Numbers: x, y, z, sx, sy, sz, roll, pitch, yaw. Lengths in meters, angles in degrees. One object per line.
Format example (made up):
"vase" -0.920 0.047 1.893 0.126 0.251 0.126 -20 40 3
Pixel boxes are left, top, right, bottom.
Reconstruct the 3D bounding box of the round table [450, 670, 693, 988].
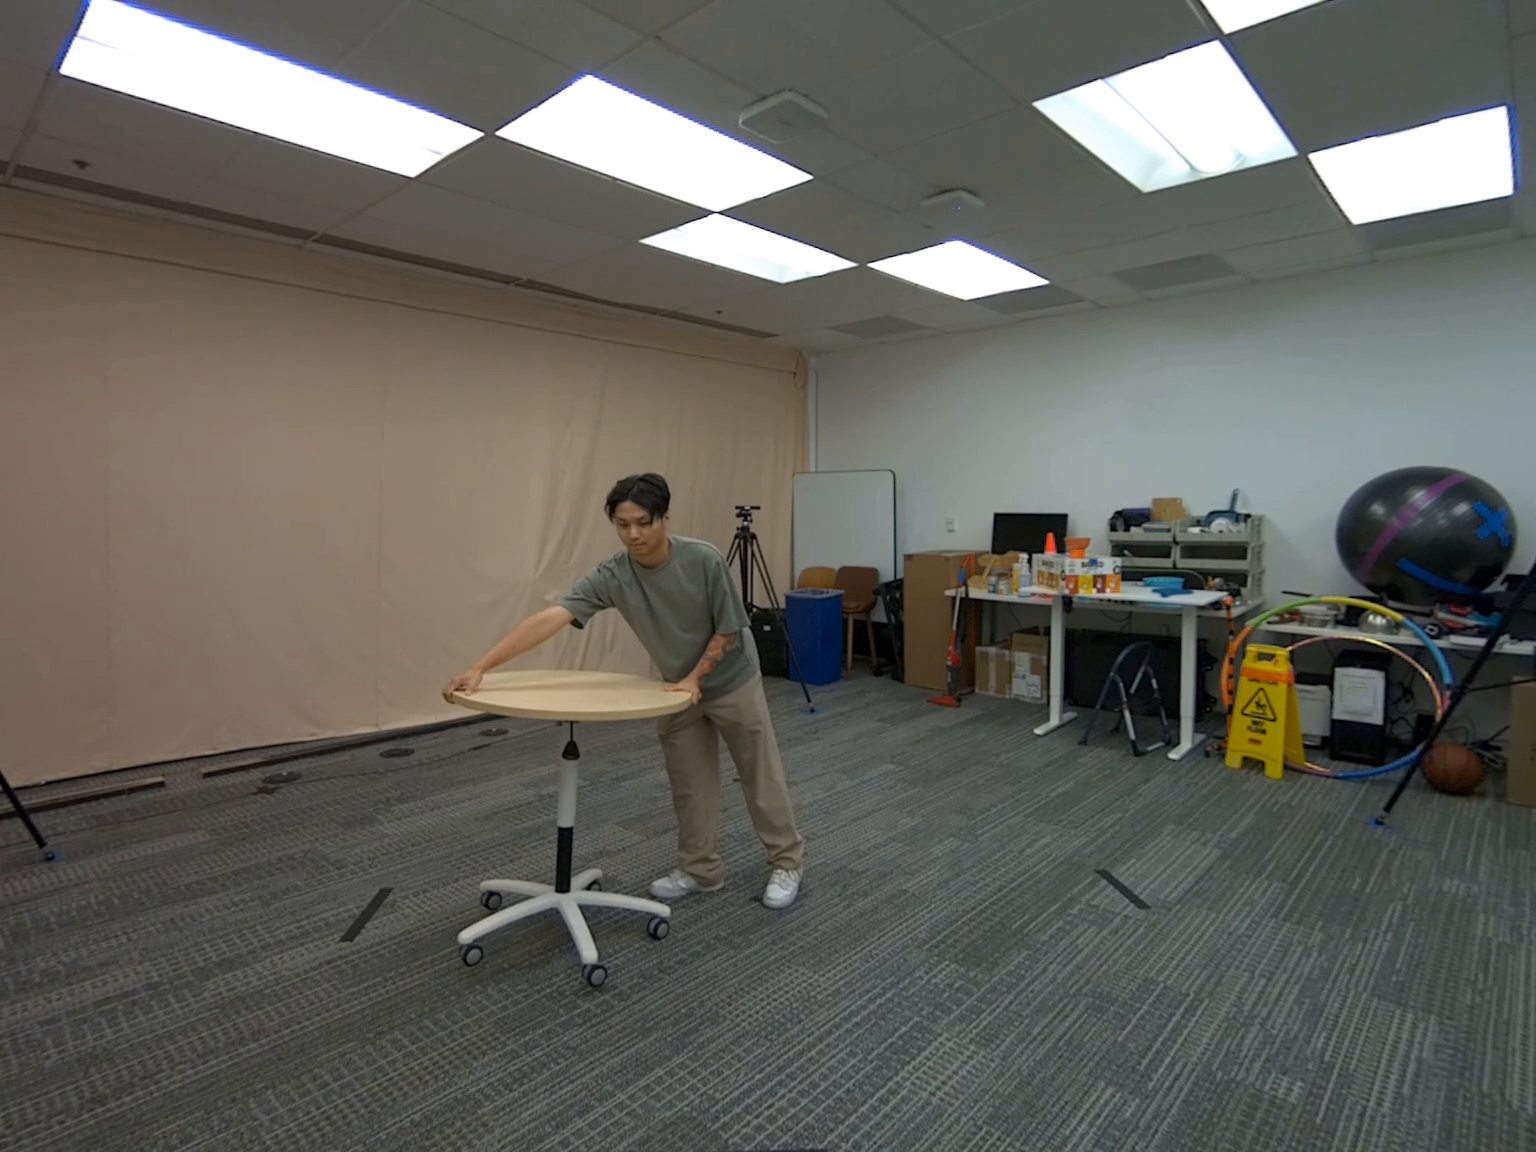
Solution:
"round table" -0.658 0.757 2.714 0.784 0.786 0.786 3 1 -2
